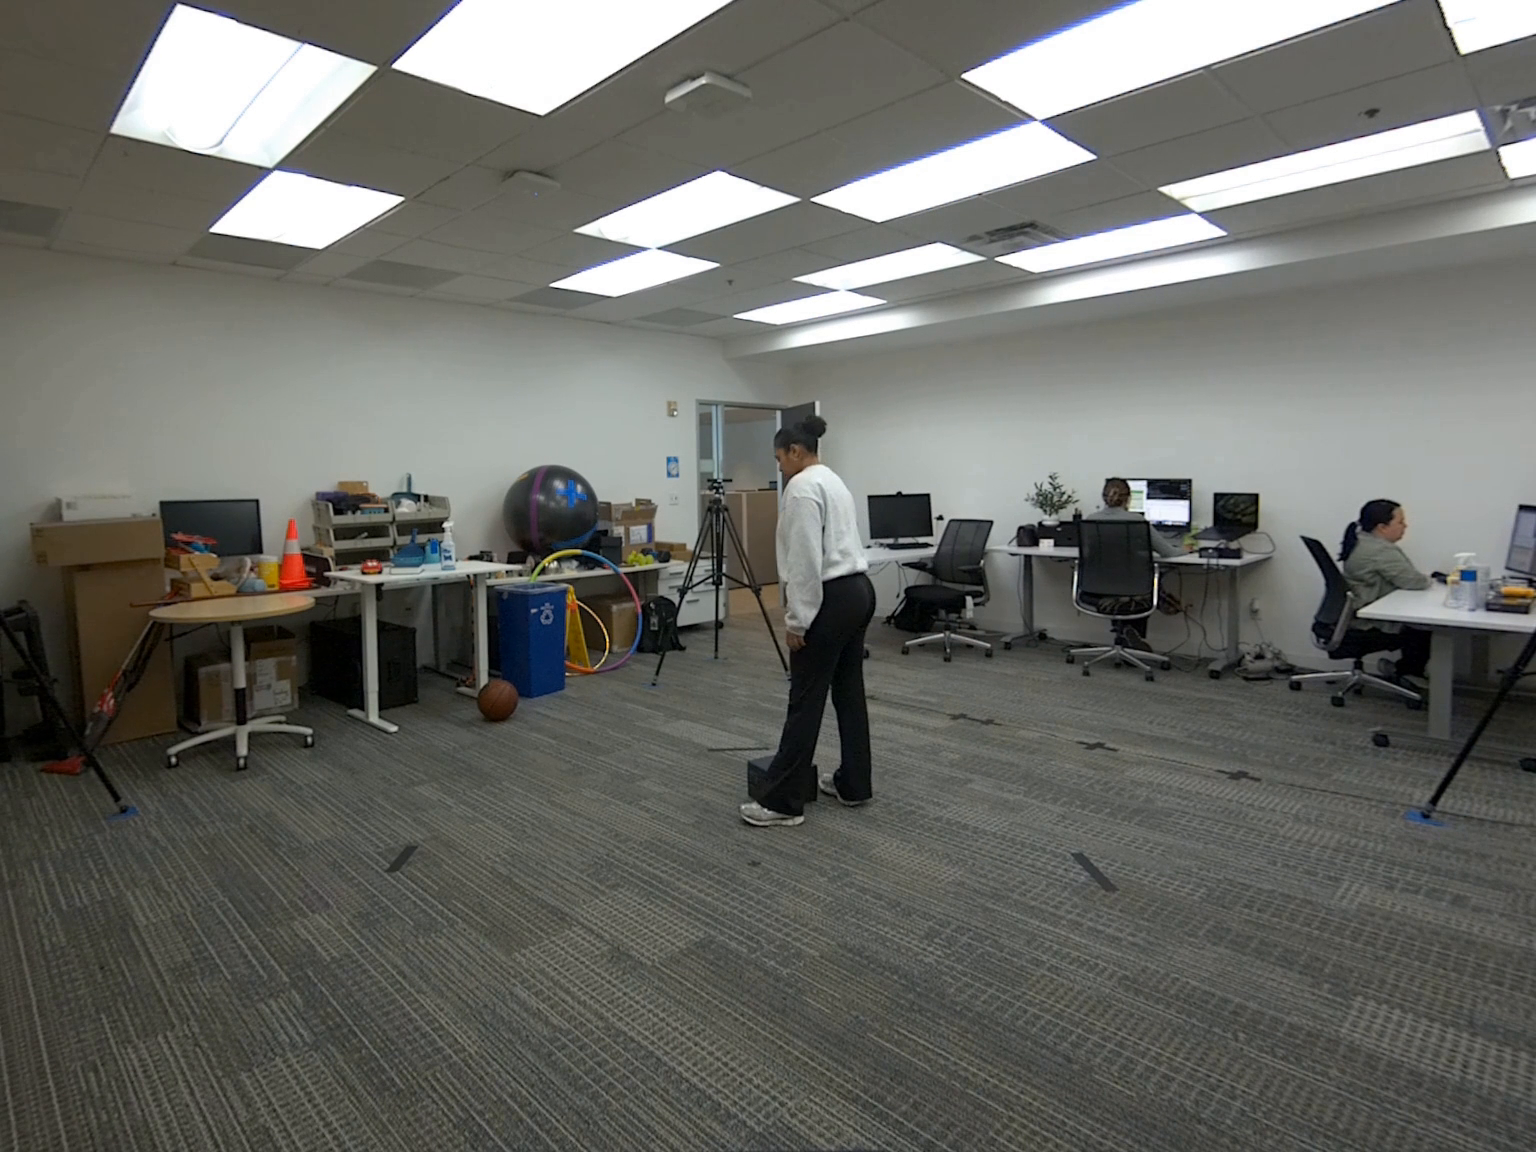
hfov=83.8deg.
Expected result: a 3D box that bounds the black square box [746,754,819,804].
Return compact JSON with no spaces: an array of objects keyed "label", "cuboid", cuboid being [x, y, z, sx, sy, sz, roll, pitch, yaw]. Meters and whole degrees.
[{"label":"black square box","cuboid":[0.065,0.892,3.740,0.222,0.155,0.223,-5,7,-34]}]
